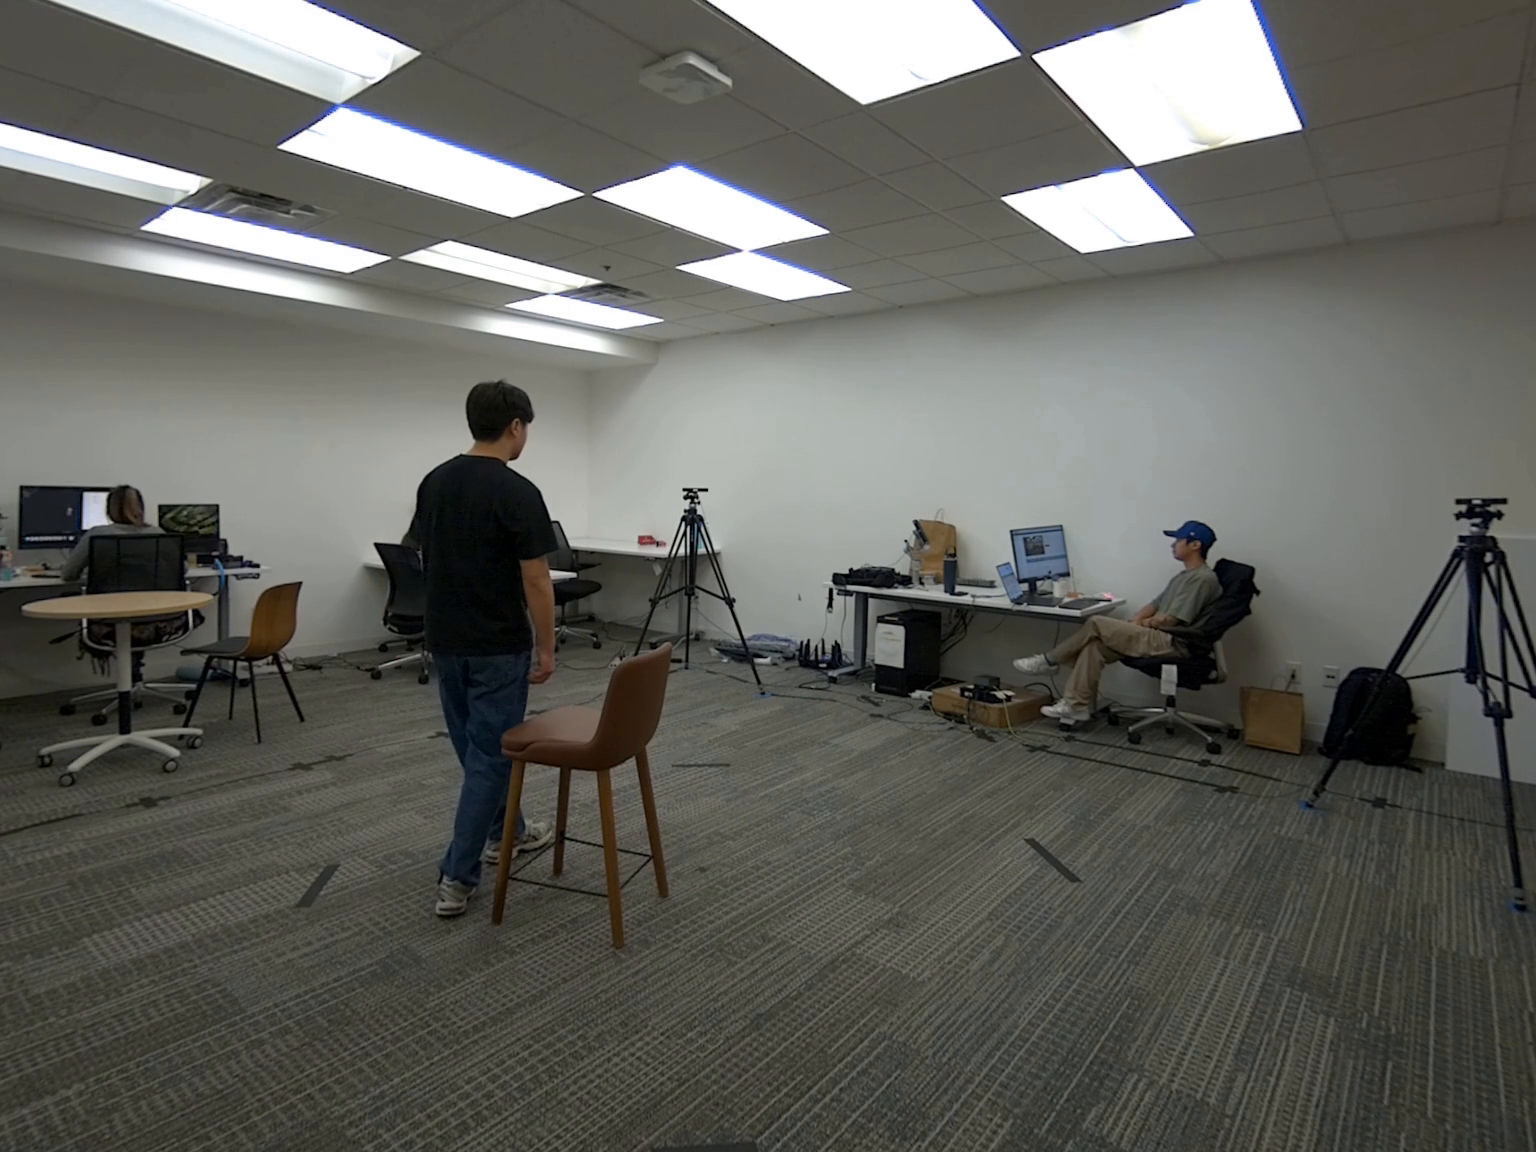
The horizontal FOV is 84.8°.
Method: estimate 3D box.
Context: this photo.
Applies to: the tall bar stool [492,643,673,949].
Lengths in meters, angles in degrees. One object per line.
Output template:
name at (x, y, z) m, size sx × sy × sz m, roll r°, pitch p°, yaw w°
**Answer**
tall bar stool at (-0.604, 0.659, 2.779) m, size 0.478 × 0.886 × 0.448 m, roll 4°, pitch 4°, yaw 19°
